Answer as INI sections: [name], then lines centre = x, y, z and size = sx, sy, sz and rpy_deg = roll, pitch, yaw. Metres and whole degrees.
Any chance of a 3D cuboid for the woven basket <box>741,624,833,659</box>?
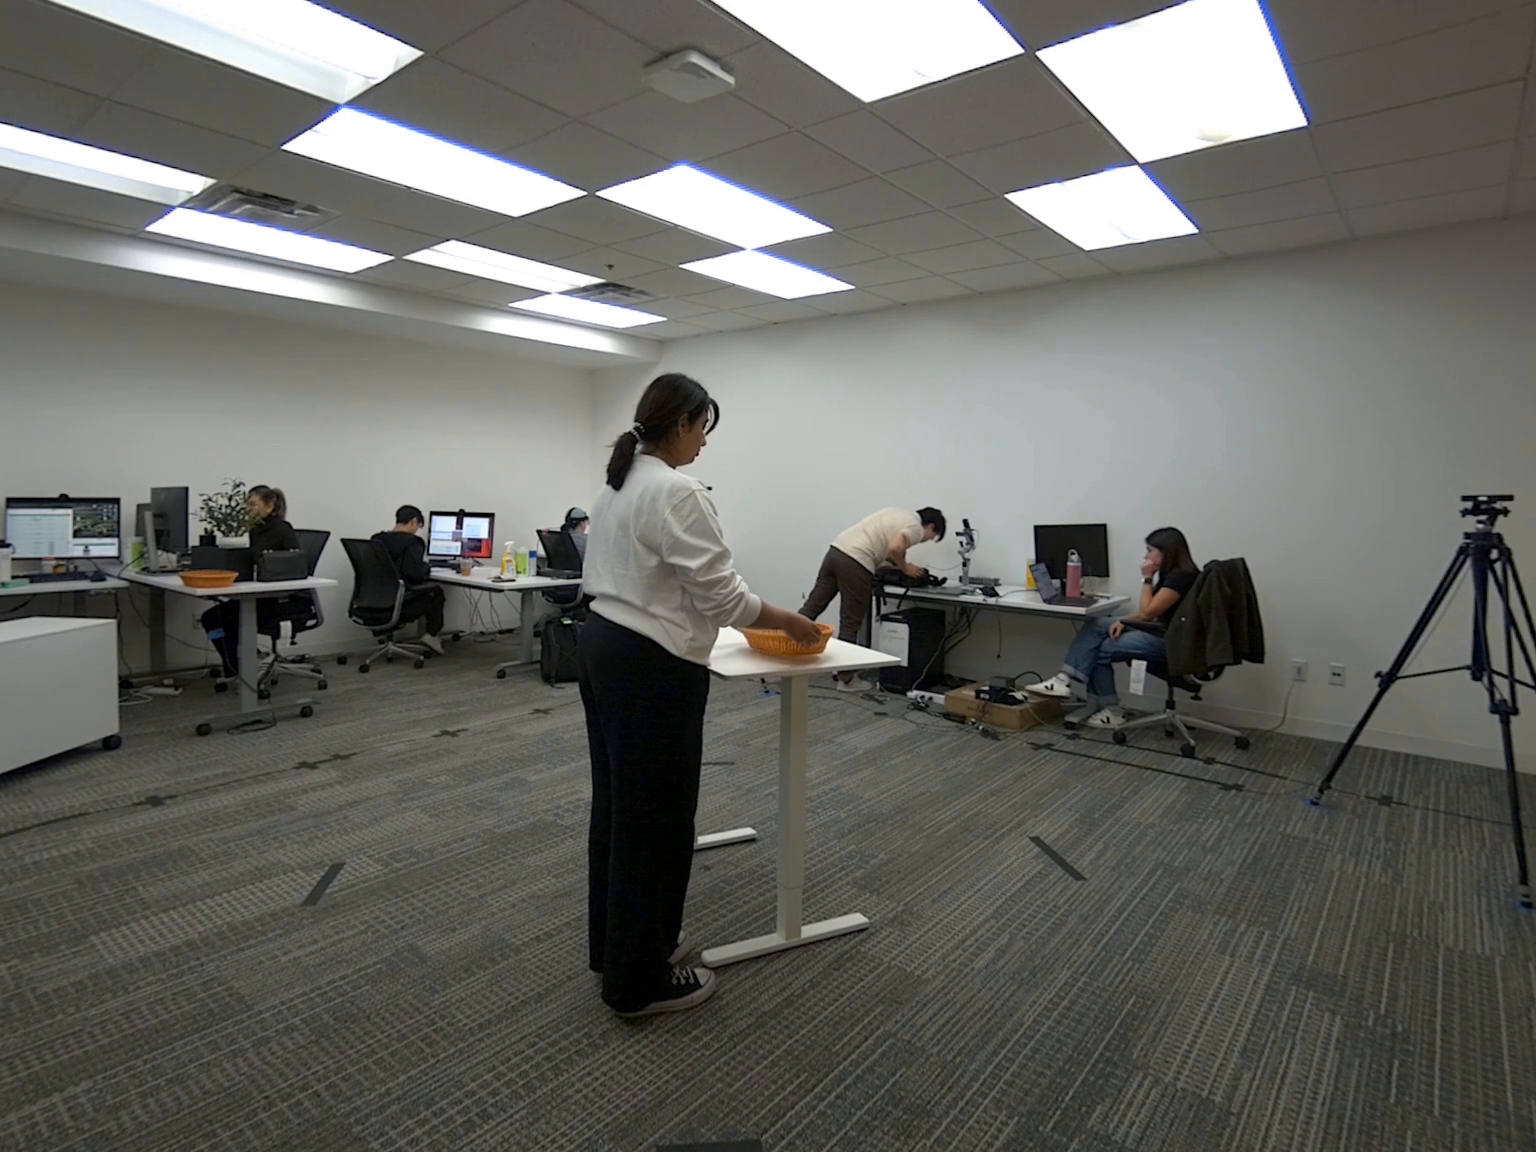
[woven basket]
centre = 0.025, 0.200, 2.619
size = 0.247, 0.073, 0.358
rpy_deg = -2, 4, -22
